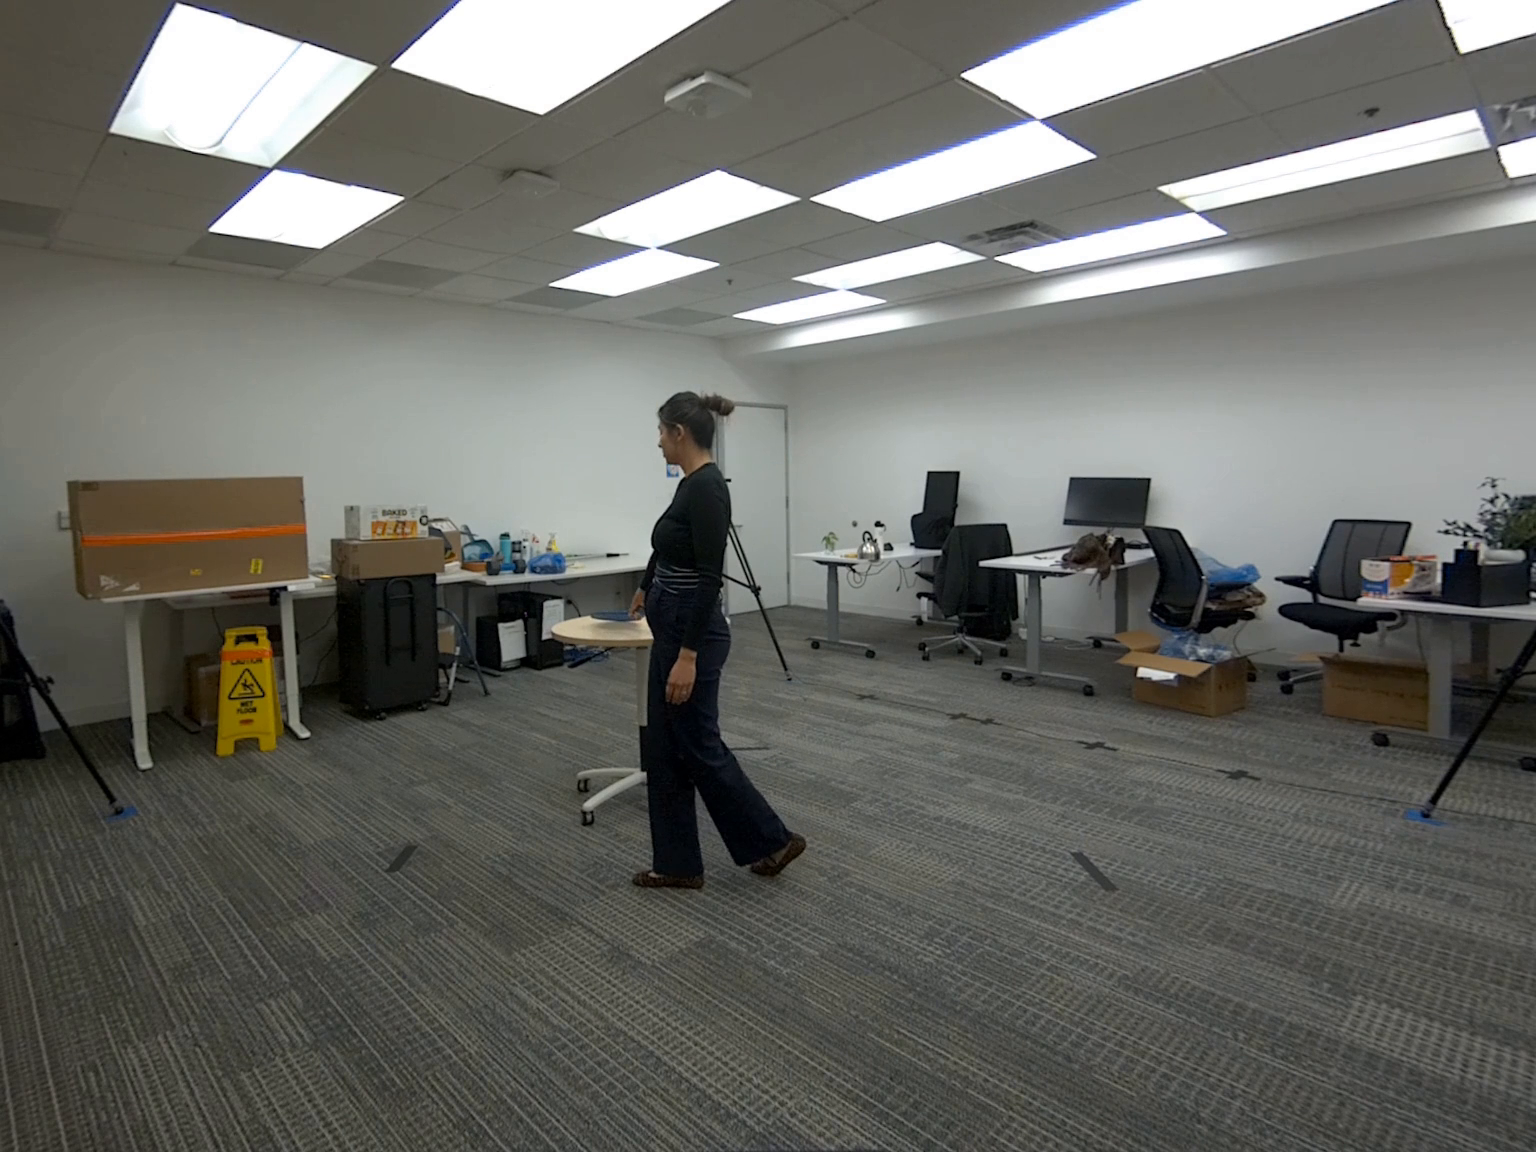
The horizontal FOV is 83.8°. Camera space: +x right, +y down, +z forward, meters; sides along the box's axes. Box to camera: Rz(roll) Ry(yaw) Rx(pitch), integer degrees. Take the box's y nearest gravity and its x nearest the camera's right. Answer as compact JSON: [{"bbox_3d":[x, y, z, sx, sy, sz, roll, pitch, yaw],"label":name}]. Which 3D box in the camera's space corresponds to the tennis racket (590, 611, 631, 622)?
[{"bbox_3d":[-0.614,0.169,3.581,0.208,0.032,0.441,8,-10,-29],"label":"tennis racket"}]
